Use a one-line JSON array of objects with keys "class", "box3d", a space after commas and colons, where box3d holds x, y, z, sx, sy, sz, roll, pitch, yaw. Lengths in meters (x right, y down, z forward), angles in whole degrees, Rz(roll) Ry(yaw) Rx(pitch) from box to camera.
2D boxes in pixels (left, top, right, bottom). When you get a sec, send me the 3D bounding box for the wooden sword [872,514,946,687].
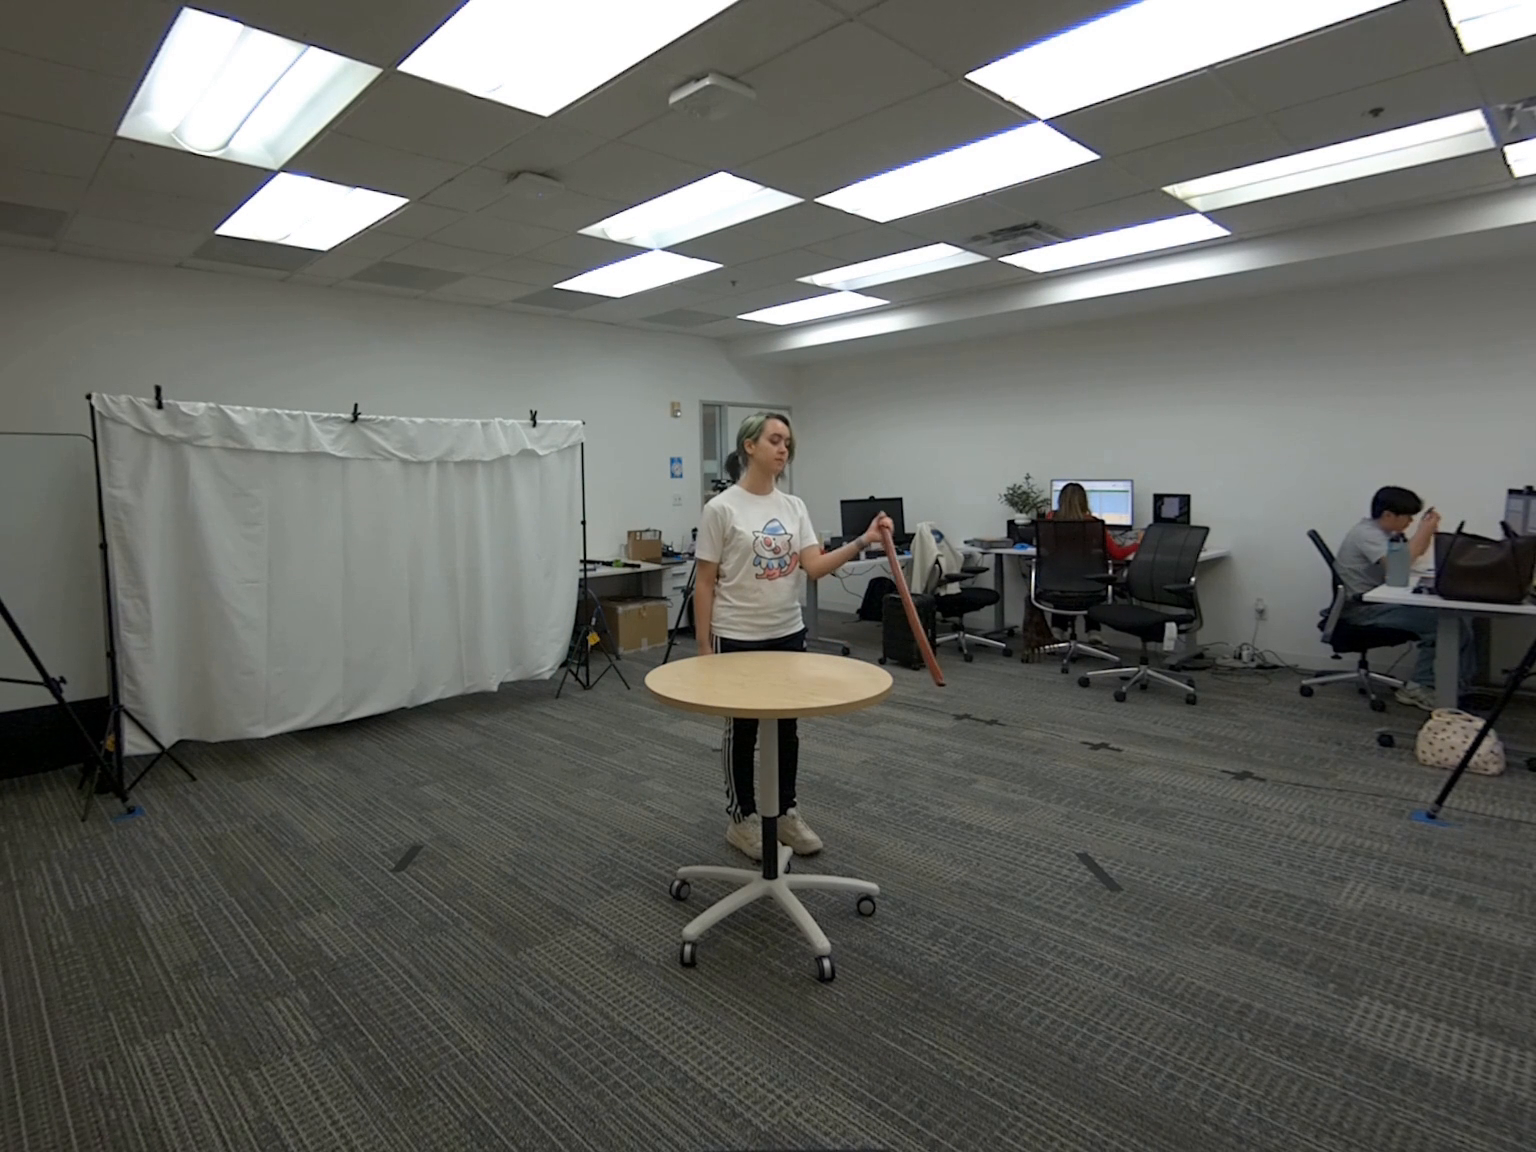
[{"class": "wooden sword", "box3d": [0.417, 0.065, 2.681, 0.050, 0.024, 1.048, 39, 22, -21]}]
